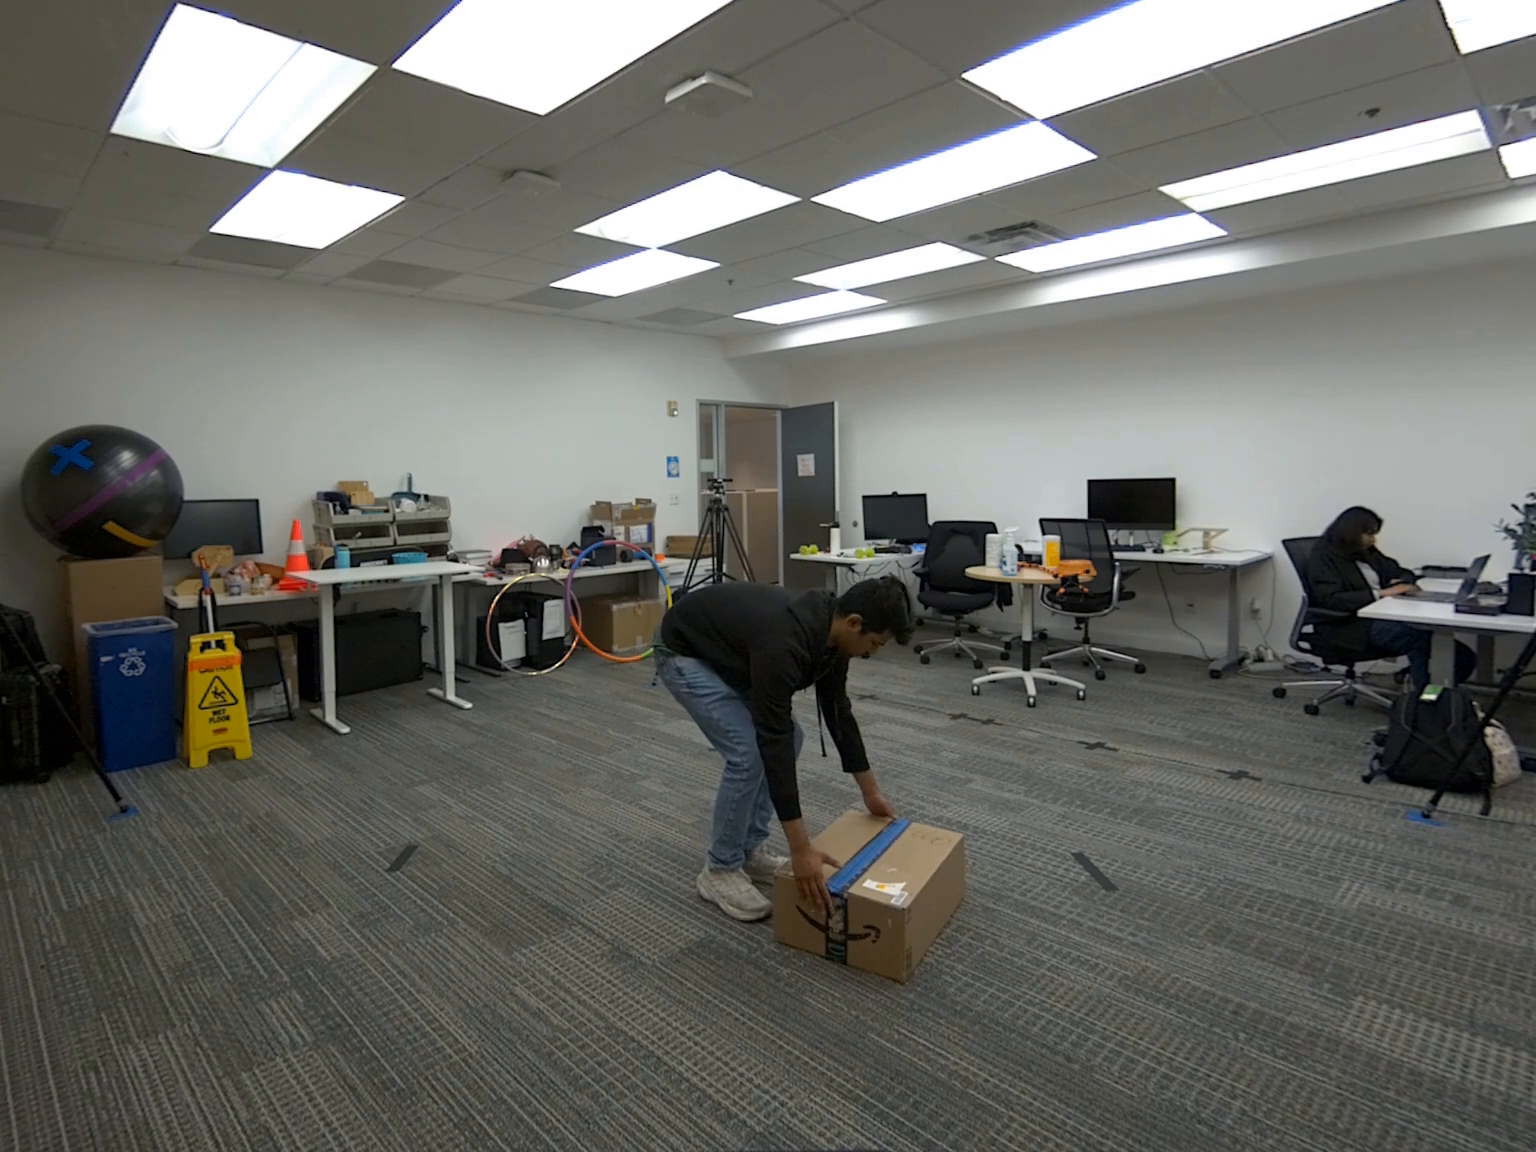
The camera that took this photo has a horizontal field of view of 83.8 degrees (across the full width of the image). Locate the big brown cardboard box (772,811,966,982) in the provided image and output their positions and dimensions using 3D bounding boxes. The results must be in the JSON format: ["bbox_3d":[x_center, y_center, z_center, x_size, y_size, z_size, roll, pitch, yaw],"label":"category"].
[{"bbox_3d":[0.331,0.973,2.685,0.429,0.232,0.576,2,6,30],"label":"big brown cardboard box"}]
